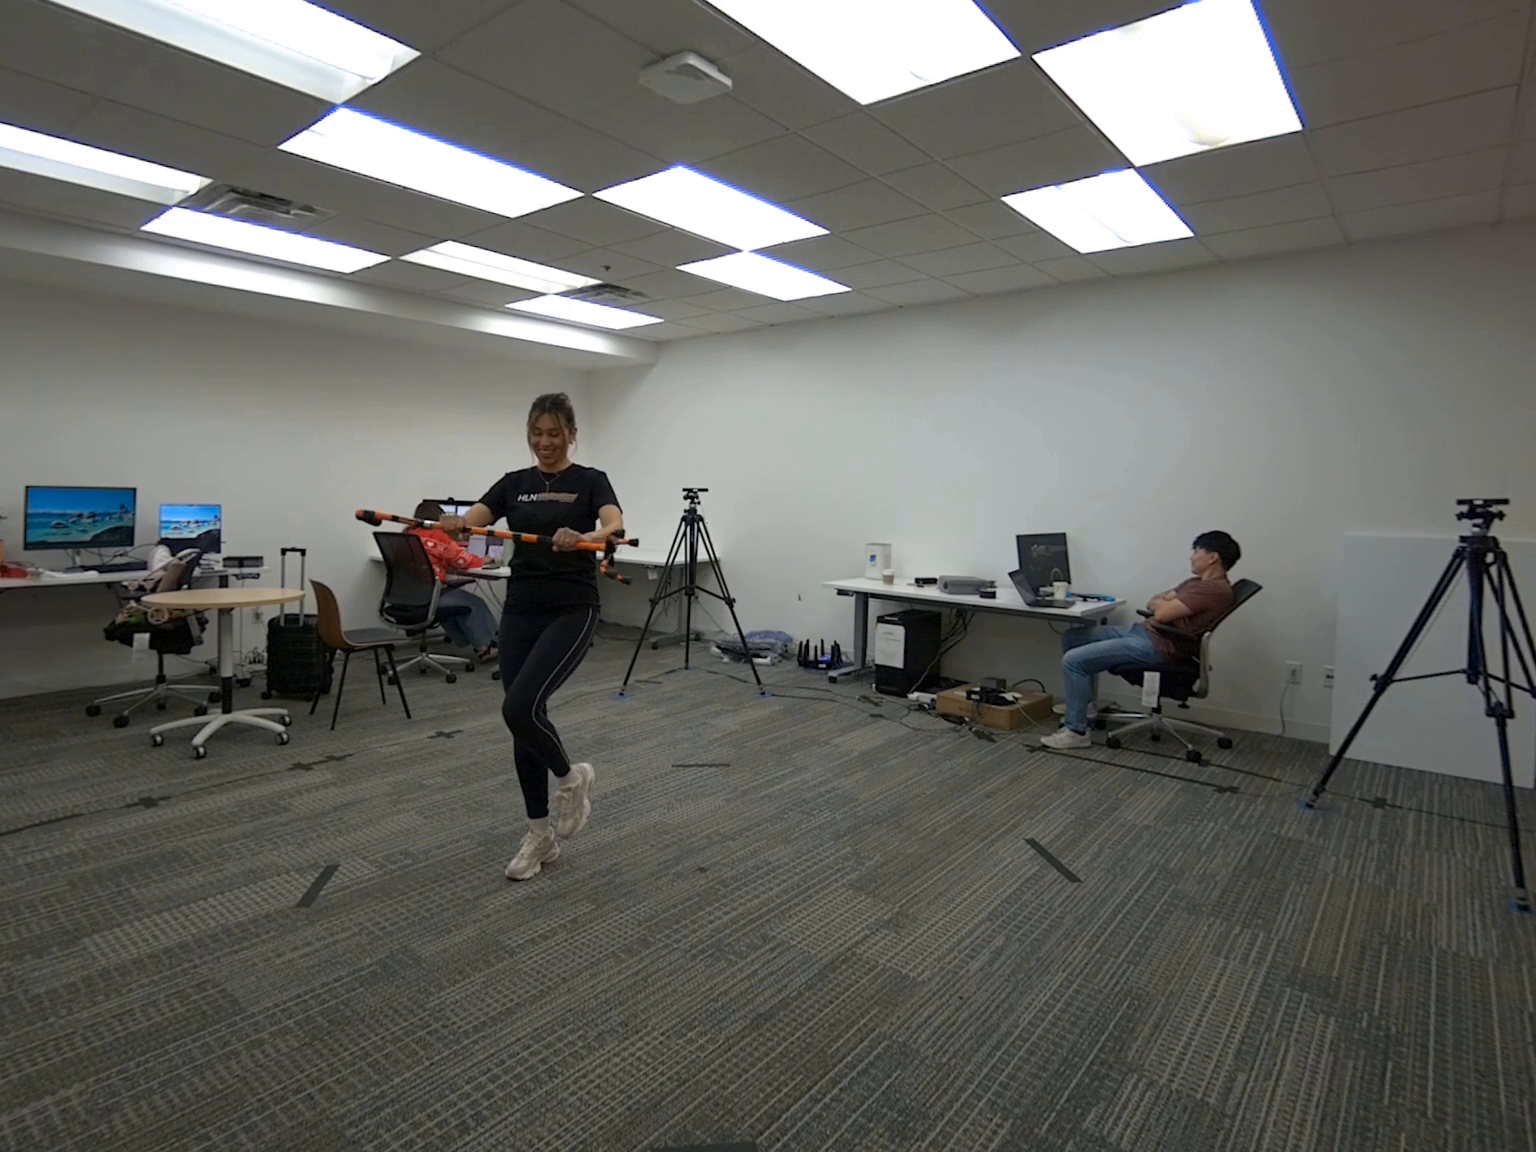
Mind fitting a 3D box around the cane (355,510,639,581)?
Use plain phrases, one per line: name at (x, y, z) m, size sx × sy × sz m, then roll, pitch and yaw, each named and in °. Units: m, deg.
cane at (-0.895, -0.113, 2.668) m, size 0.917 × 0.153 × 0.202 m, roll 8°, pitch -10°, yaw 8°
